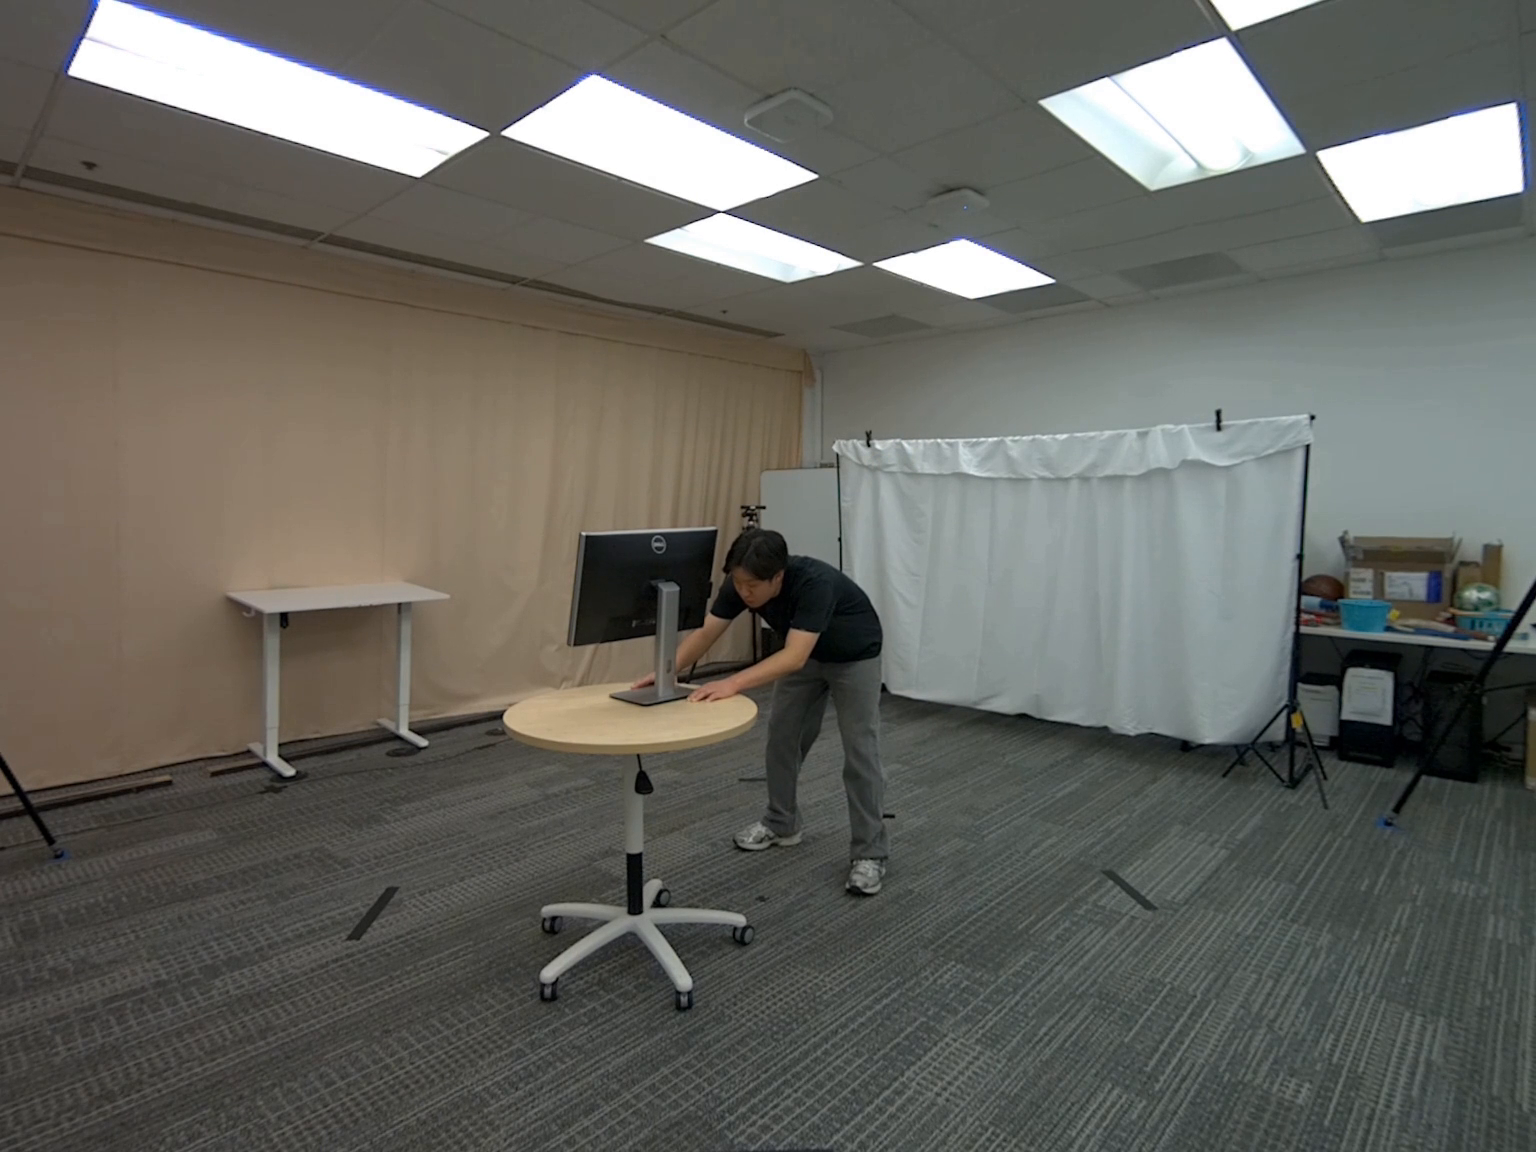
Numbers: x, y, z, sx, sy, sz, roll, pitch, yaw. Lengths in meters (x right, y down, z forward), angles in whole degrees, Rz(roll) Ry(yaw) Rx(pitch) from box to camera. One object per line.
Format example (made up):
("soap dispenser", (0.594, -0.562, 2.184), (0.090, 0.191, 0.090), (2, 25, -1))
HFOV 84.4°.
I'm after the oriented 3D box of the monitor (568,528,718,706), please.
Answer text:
("monitor", (-0.347, 0.126, 2.705), (0.217, 0.551, 0.548), (12, 11, 42))
